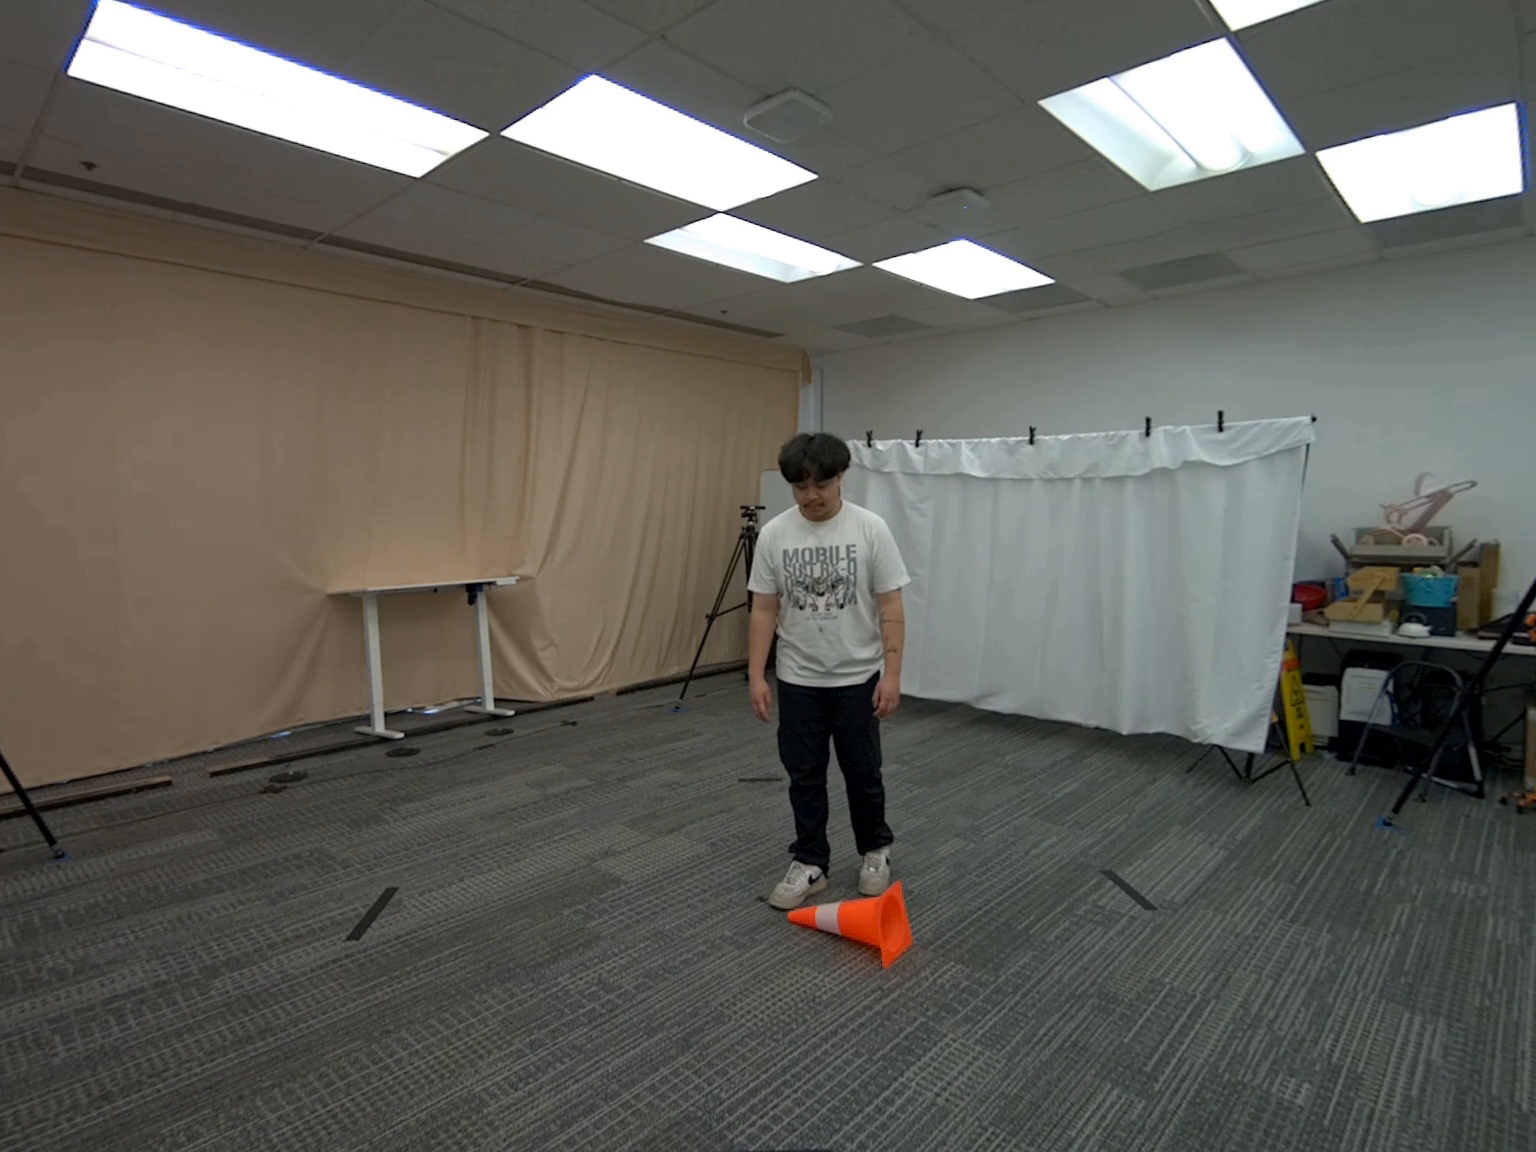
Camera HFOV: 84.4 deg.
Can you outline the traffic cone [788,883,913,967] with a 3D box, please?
[{"bbox_3d":[0.231,1.114,2.718,0.393,0.204,0.199,-13,-5,33],"label":"traffic cone"}]
